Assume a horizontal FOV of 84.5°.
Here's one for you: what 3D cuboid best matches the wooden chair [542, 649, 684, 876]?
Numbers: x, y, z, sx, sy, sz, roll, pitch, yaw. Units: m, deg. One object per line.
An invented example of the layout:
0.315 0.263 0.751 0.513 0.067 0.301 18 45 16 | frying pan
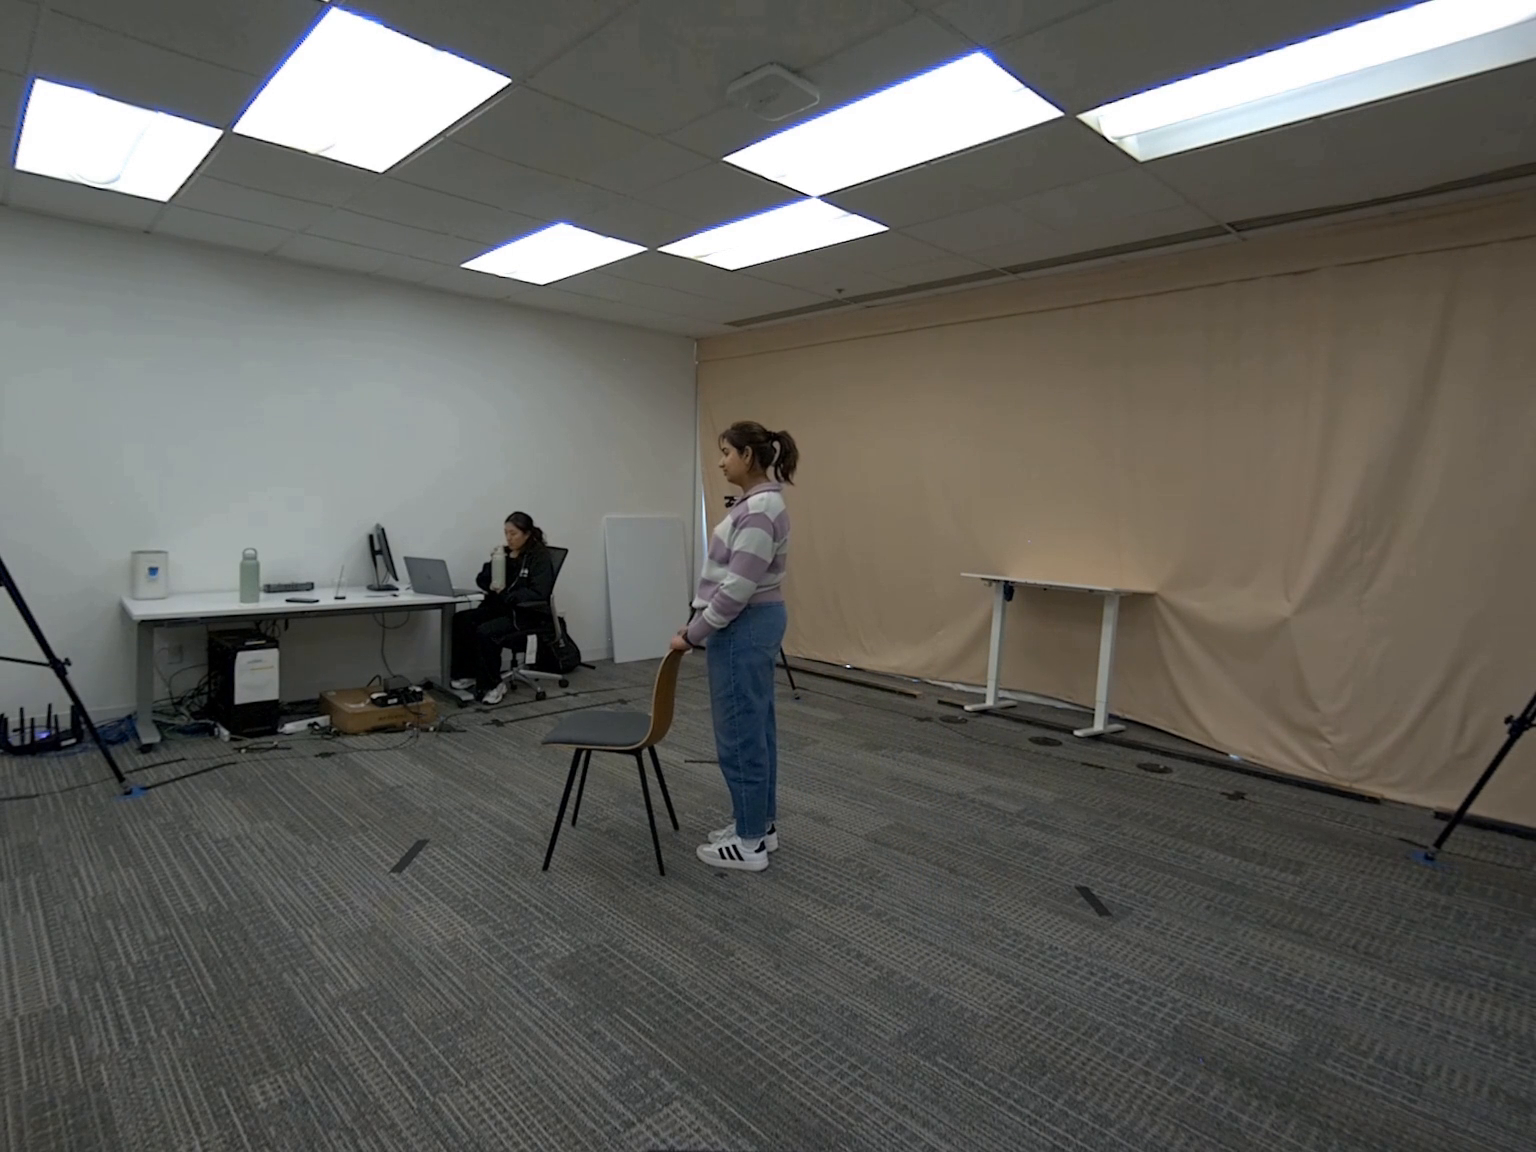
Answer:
-0.605 0.645 3.277 0.524 0.875 0.478 6 4 1 | wooden chair
